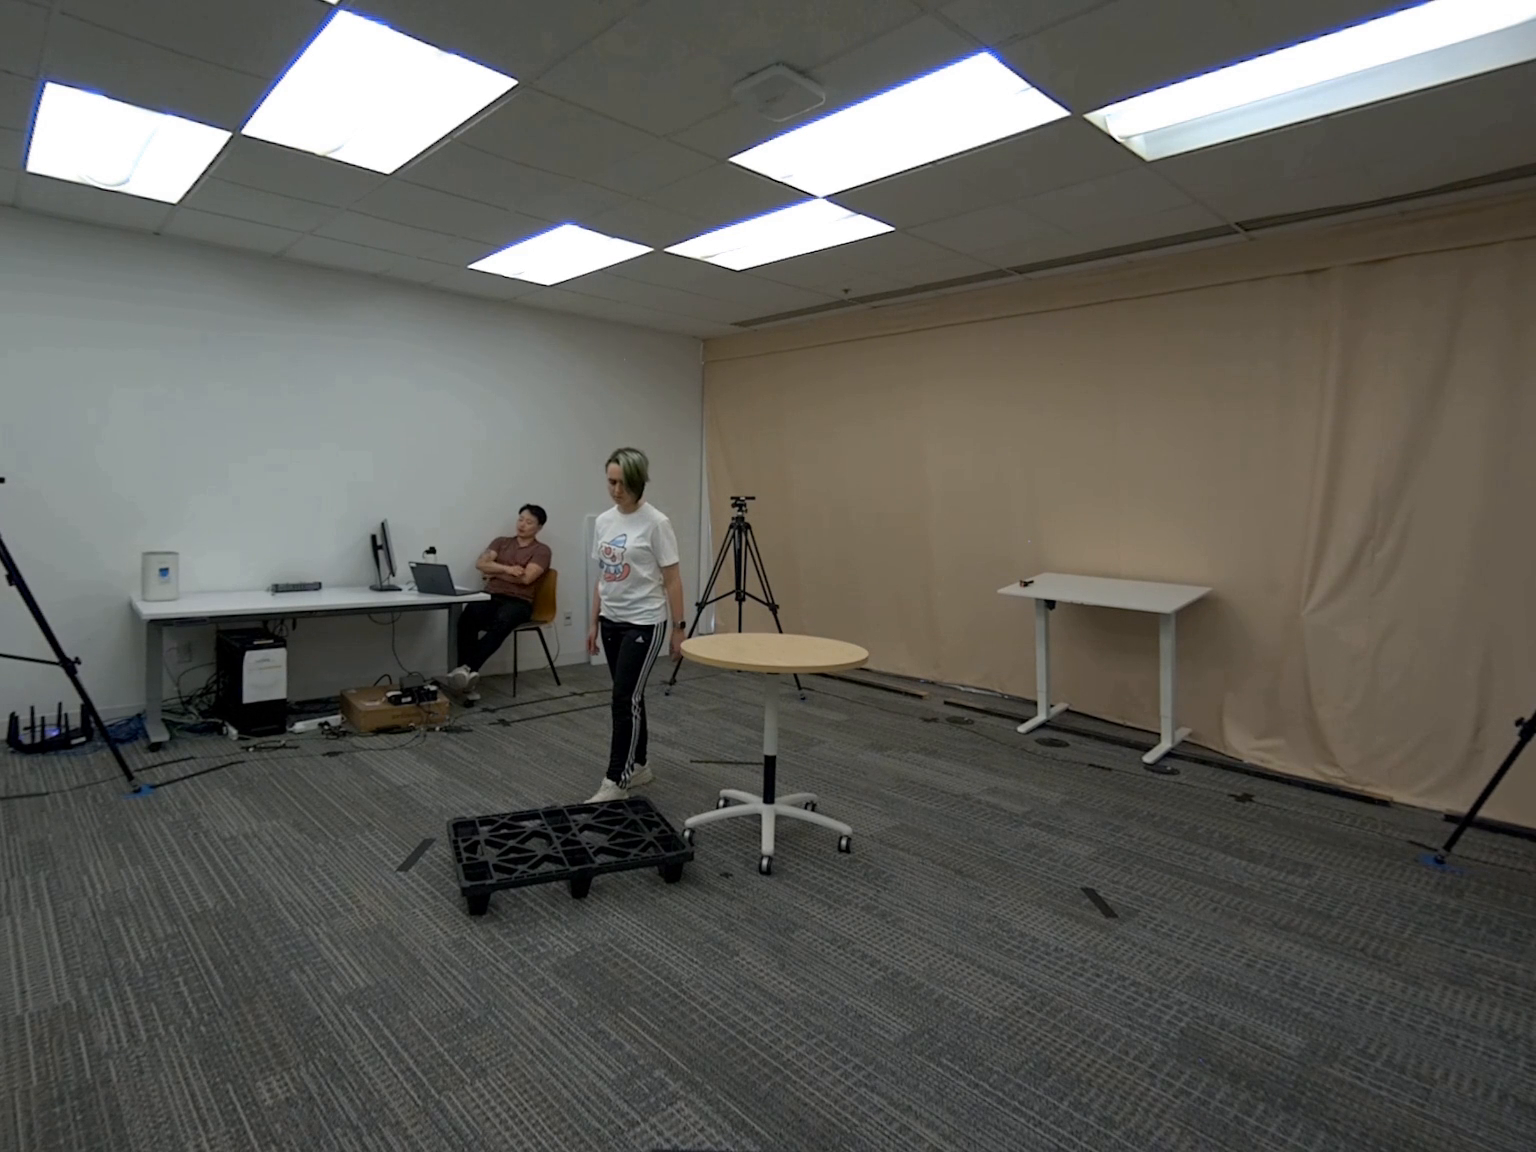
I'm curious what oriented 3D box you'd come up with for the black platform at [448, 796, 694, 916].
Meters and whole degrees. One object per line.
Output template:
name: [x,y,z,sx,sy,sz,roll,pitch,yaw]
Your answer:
black platform: [-0.756,1.022,3.113,0.791,0.143,0.617,-1,5,-24]
